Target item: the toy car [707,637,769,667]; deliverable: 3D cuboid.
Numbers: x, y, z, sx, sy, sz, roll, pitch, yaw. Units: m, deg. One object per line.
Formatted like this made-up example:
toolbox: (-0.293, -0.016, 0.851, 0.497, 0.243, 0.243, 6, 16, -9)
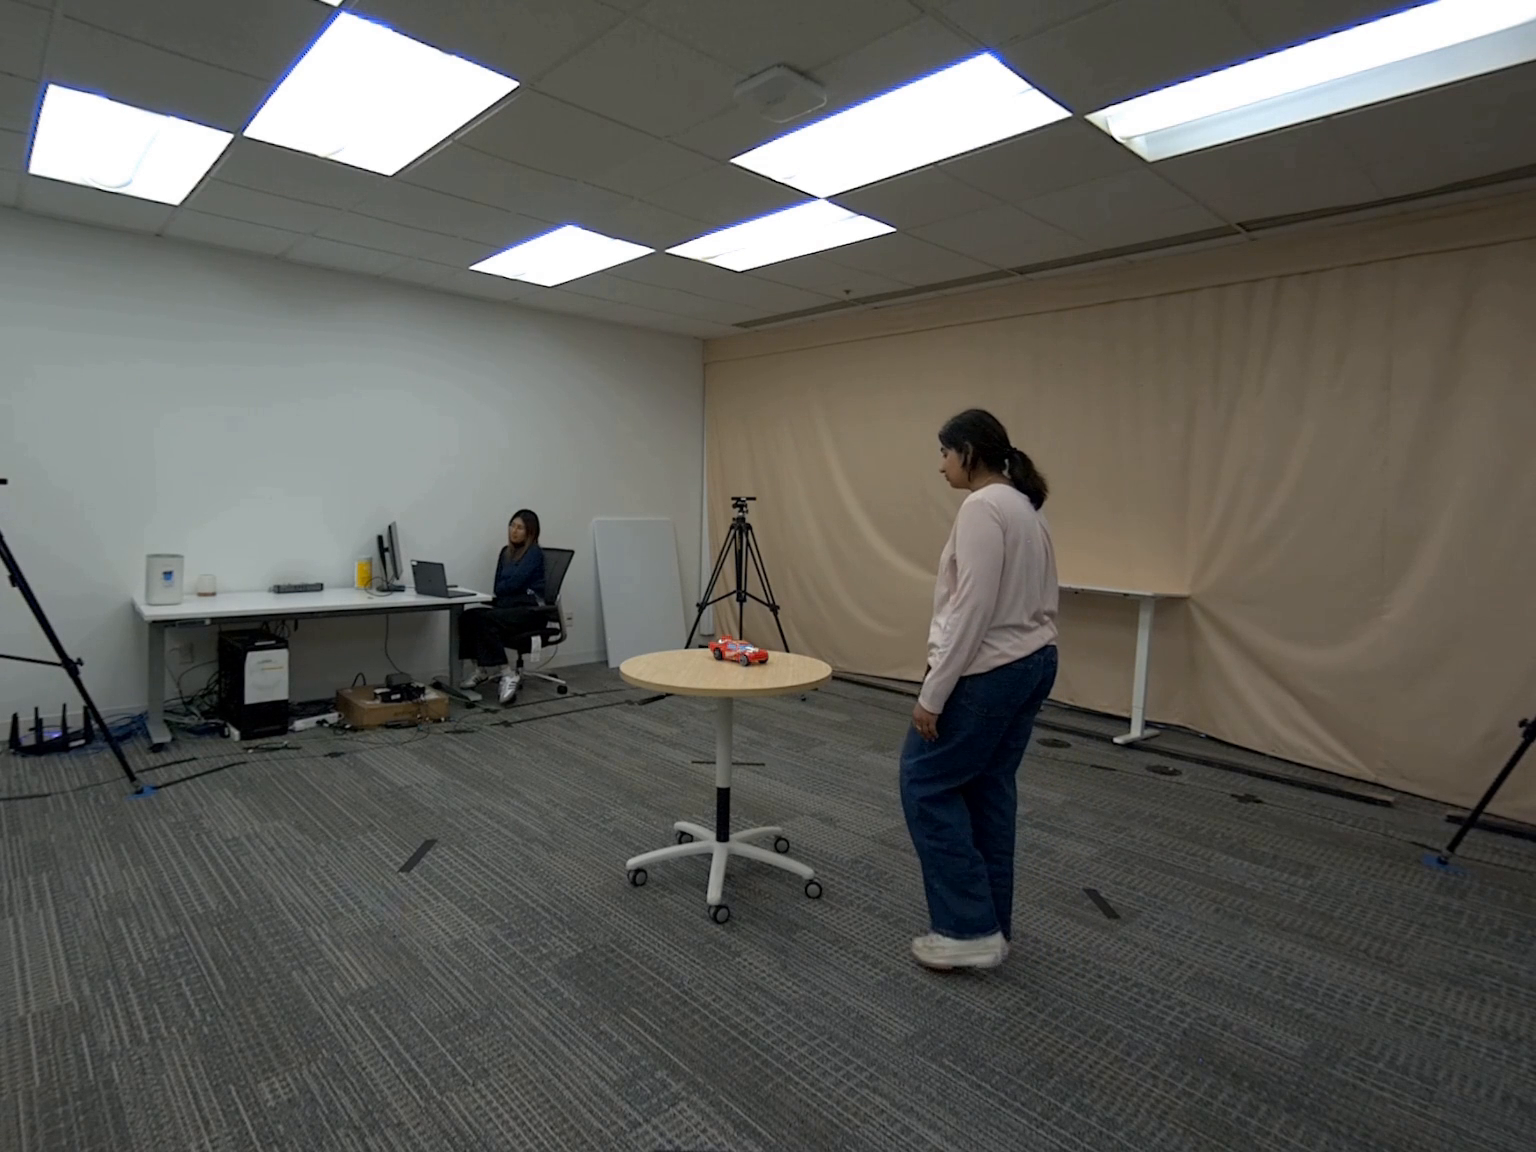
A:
toy car: (-0.122, 0.288, 3.163, 0.127, 0.082, 0.262, -3, 17, -42)
